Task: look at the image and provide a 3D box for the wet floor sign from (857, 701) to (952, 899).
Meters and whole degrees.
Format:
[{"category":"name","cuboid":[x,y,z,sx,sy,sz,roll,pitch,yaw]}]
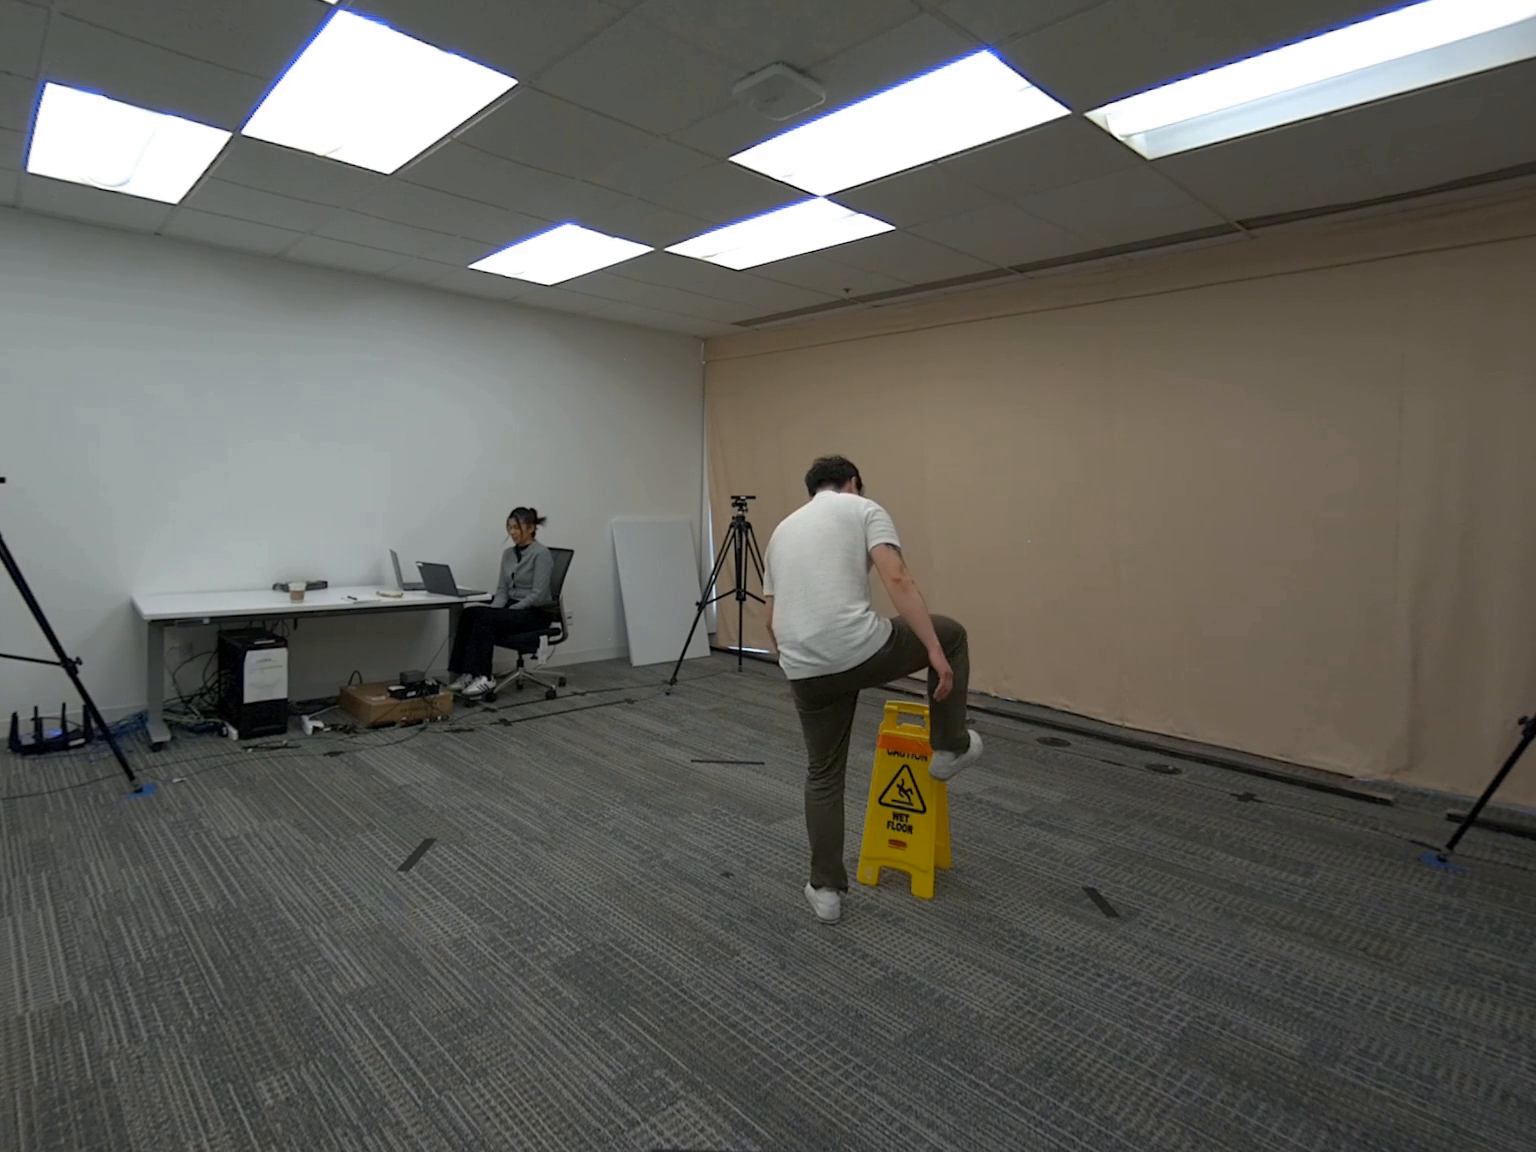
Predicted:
[{"category":"wet floor sign","cuboid":[0.509,0.791,3.127,0.288,0.645,0.284,4,3,26]}]
